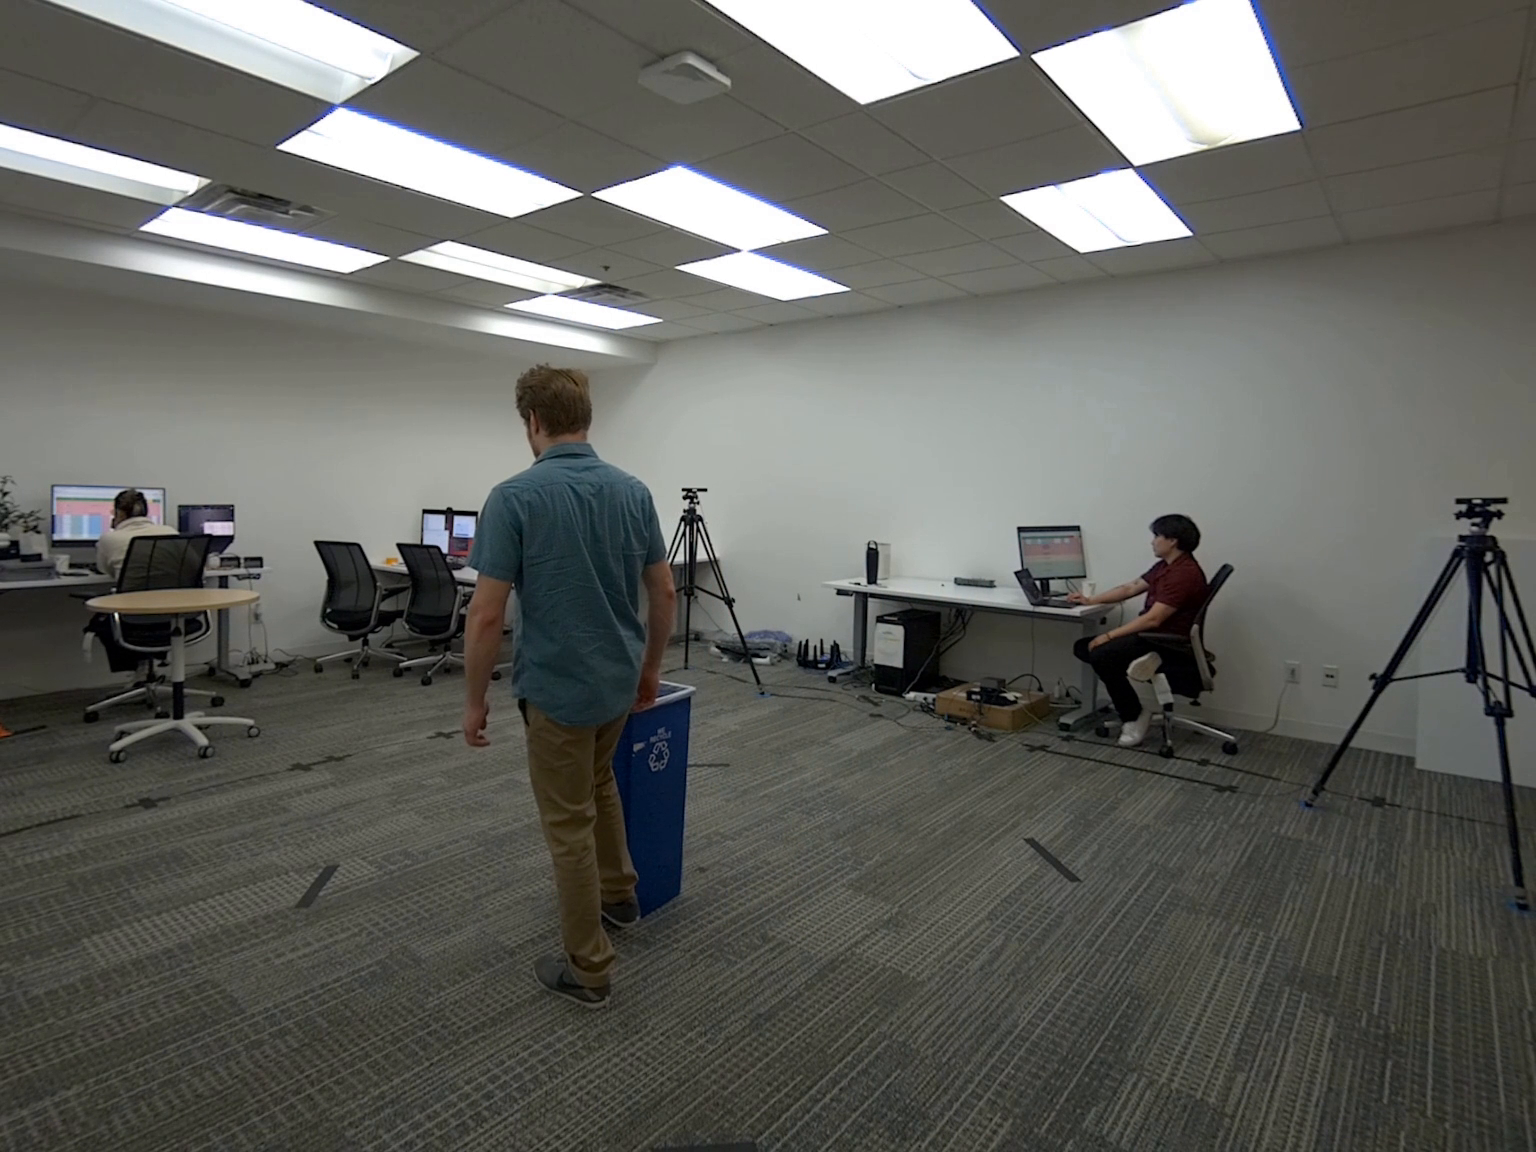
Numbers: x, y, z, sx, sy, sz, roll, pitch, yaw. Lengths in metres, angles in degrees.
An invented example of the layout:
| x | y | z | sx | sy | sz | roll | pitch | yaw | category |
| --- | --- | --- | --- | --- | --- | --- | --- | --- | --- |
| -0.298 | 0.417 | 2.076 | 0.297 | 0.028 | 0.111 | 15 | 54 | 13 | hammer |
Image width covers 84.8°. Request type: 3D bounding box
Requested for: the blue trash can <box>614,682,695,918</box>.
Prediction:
| x | y | z | sx | sy | sz | roll | pitch | yaw | category |
| --- | --- | --- | --- | --- | --- | --- | --- | --- | --- |
| -0.496 | 0.729 | 2.878 | 0.389 | 0.711 | 0.364 | 3 | 4 | 31 | blue trash can |
